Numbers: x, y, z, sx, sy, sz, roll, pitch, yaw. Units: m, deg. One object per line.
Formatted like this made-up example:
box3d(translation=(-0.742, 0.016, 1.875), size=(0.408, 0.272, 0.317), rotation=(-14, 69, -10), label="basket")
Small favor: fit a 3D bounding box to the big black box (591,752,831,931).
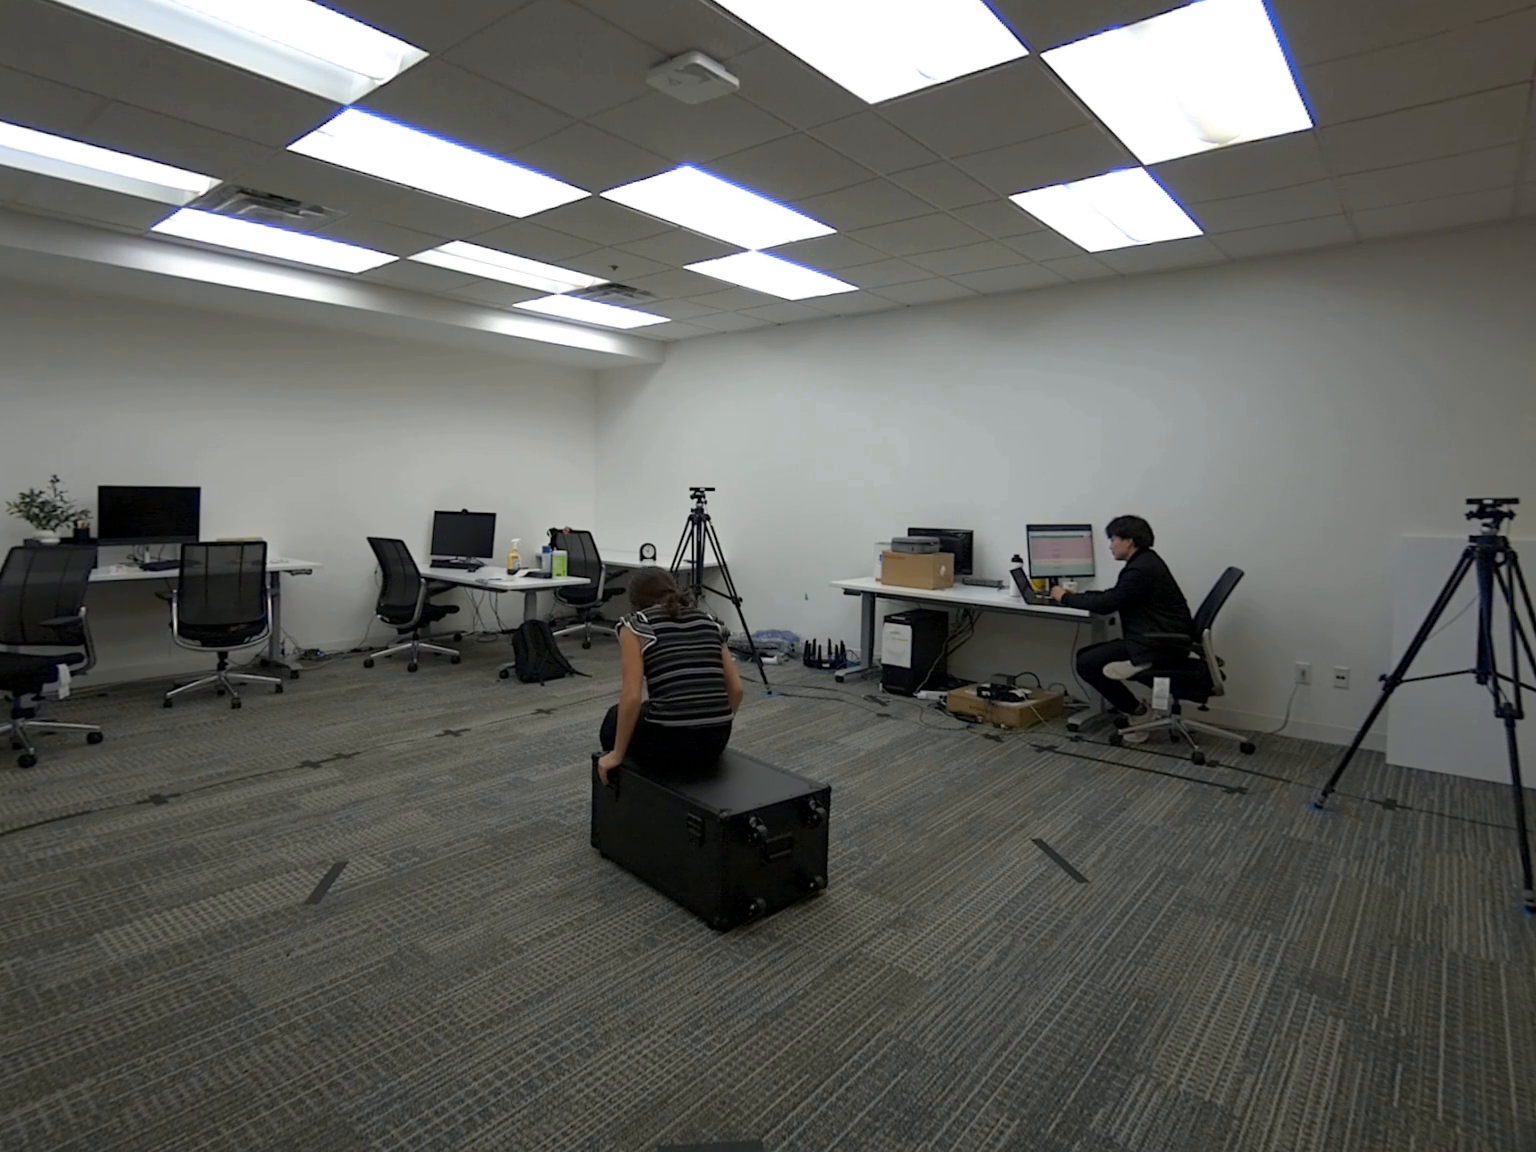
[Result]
box3d(translation=(-0.216, 0.884, 3.040), size=(0.505, 0.395, 0.890), rotation=(-3, 5, -41), label="big black box")
